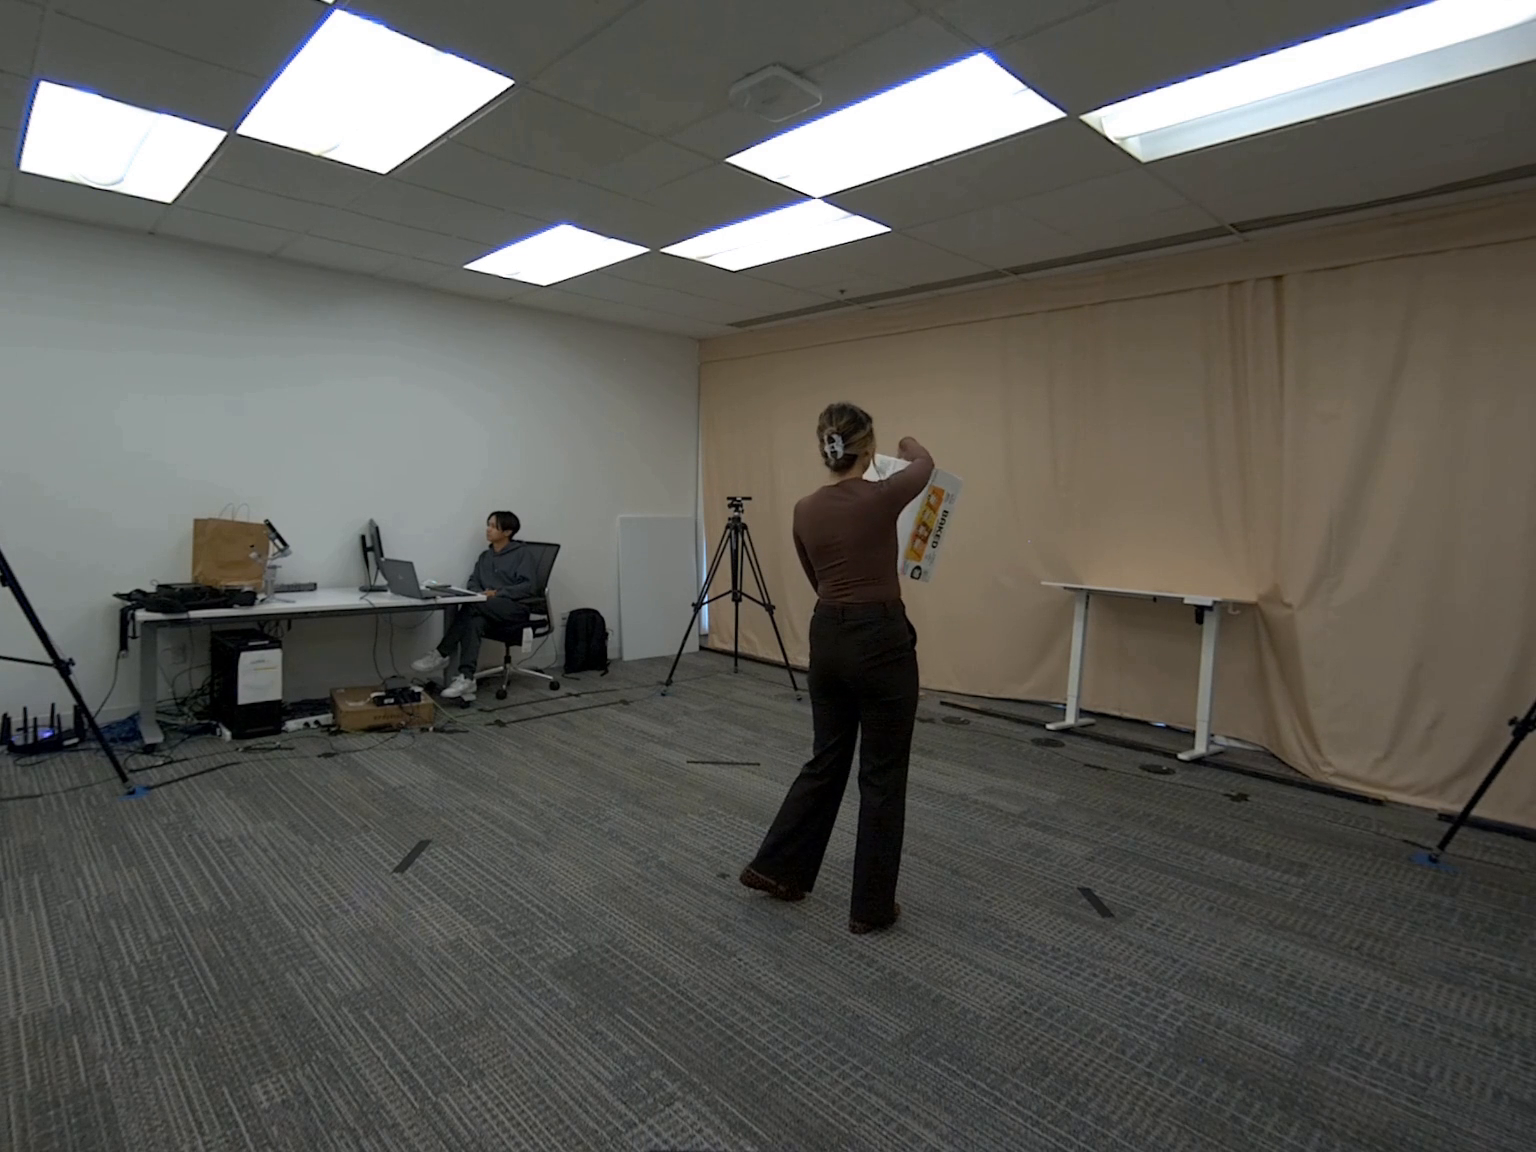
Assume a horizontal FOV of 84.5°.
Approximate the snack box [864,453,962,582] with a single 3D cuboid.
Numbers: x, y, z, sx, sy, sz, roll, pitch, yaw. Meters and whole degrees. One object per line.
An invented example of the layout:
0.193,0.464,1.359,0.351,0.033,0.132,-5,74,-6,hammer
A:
0.467,-0.225,3.164,0.200,0.404,0.351,14,6,-46,snack box
